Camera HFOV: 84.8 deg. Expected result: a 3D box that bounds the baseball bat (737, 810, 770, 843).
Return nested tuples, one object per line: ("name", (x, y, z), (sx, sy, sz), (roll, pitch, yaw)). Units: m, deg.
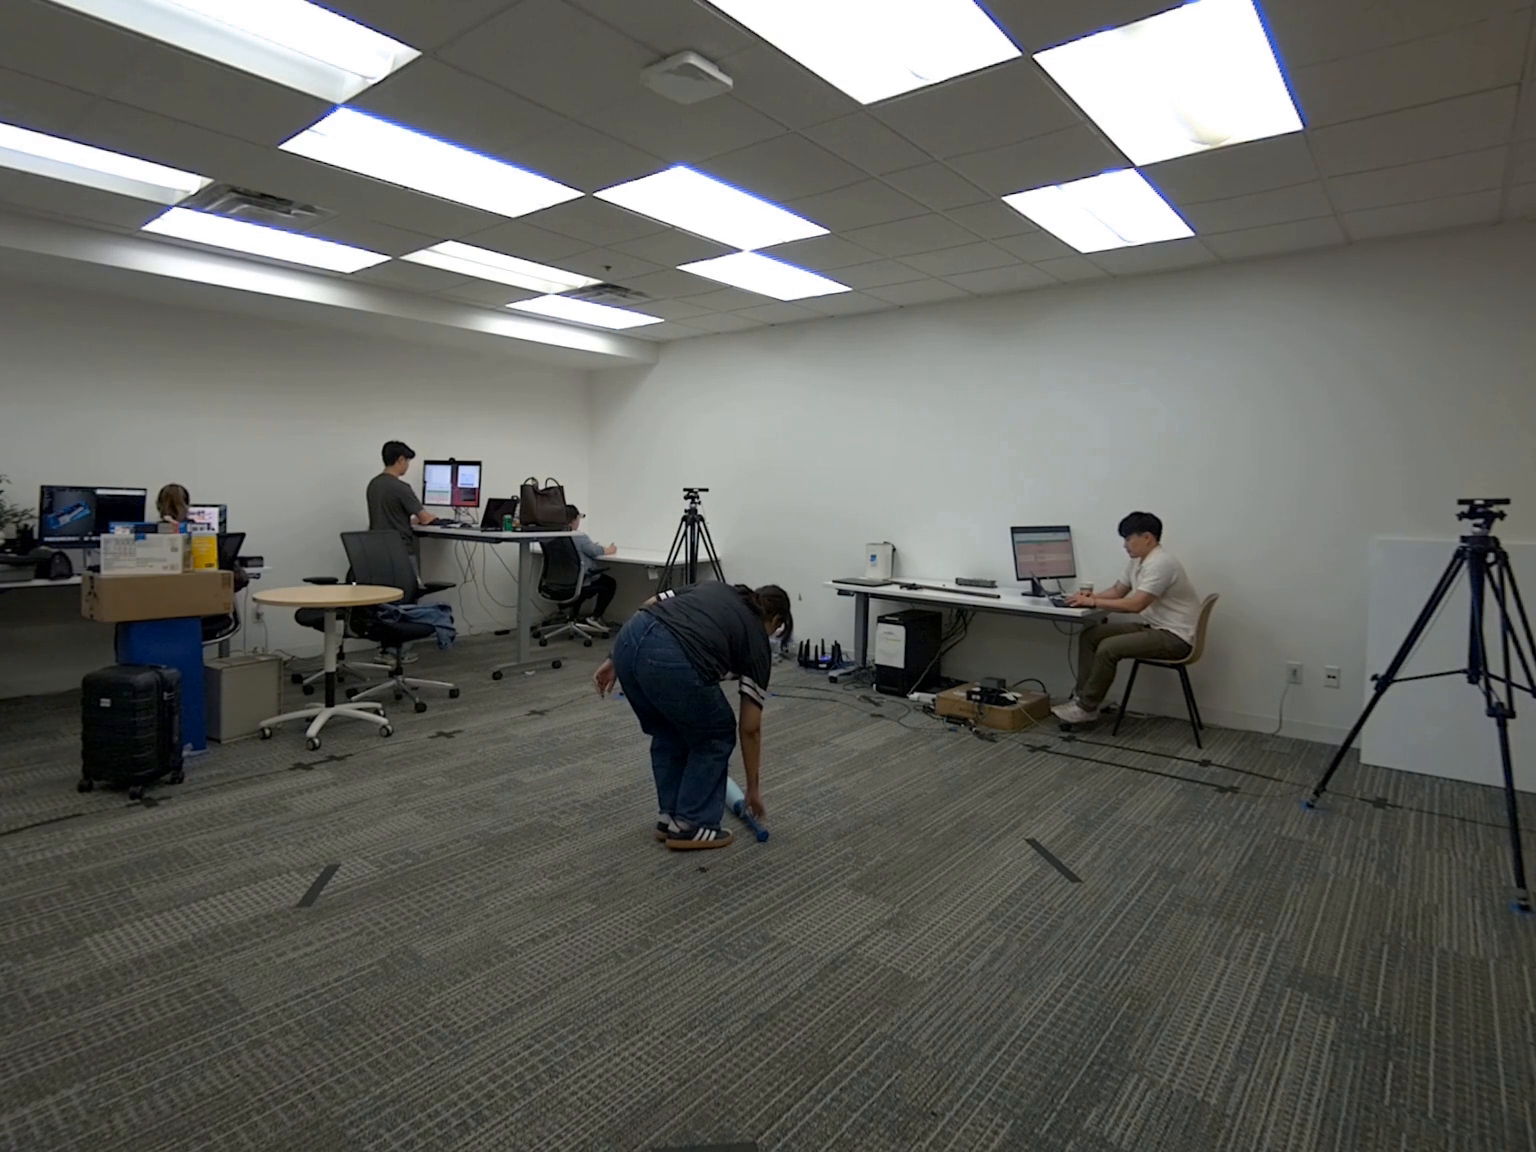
("baseball bat", (-0.123, 0.983, 3.608), (0.087, 0.088, 0.556), (-1, 8, -19))
